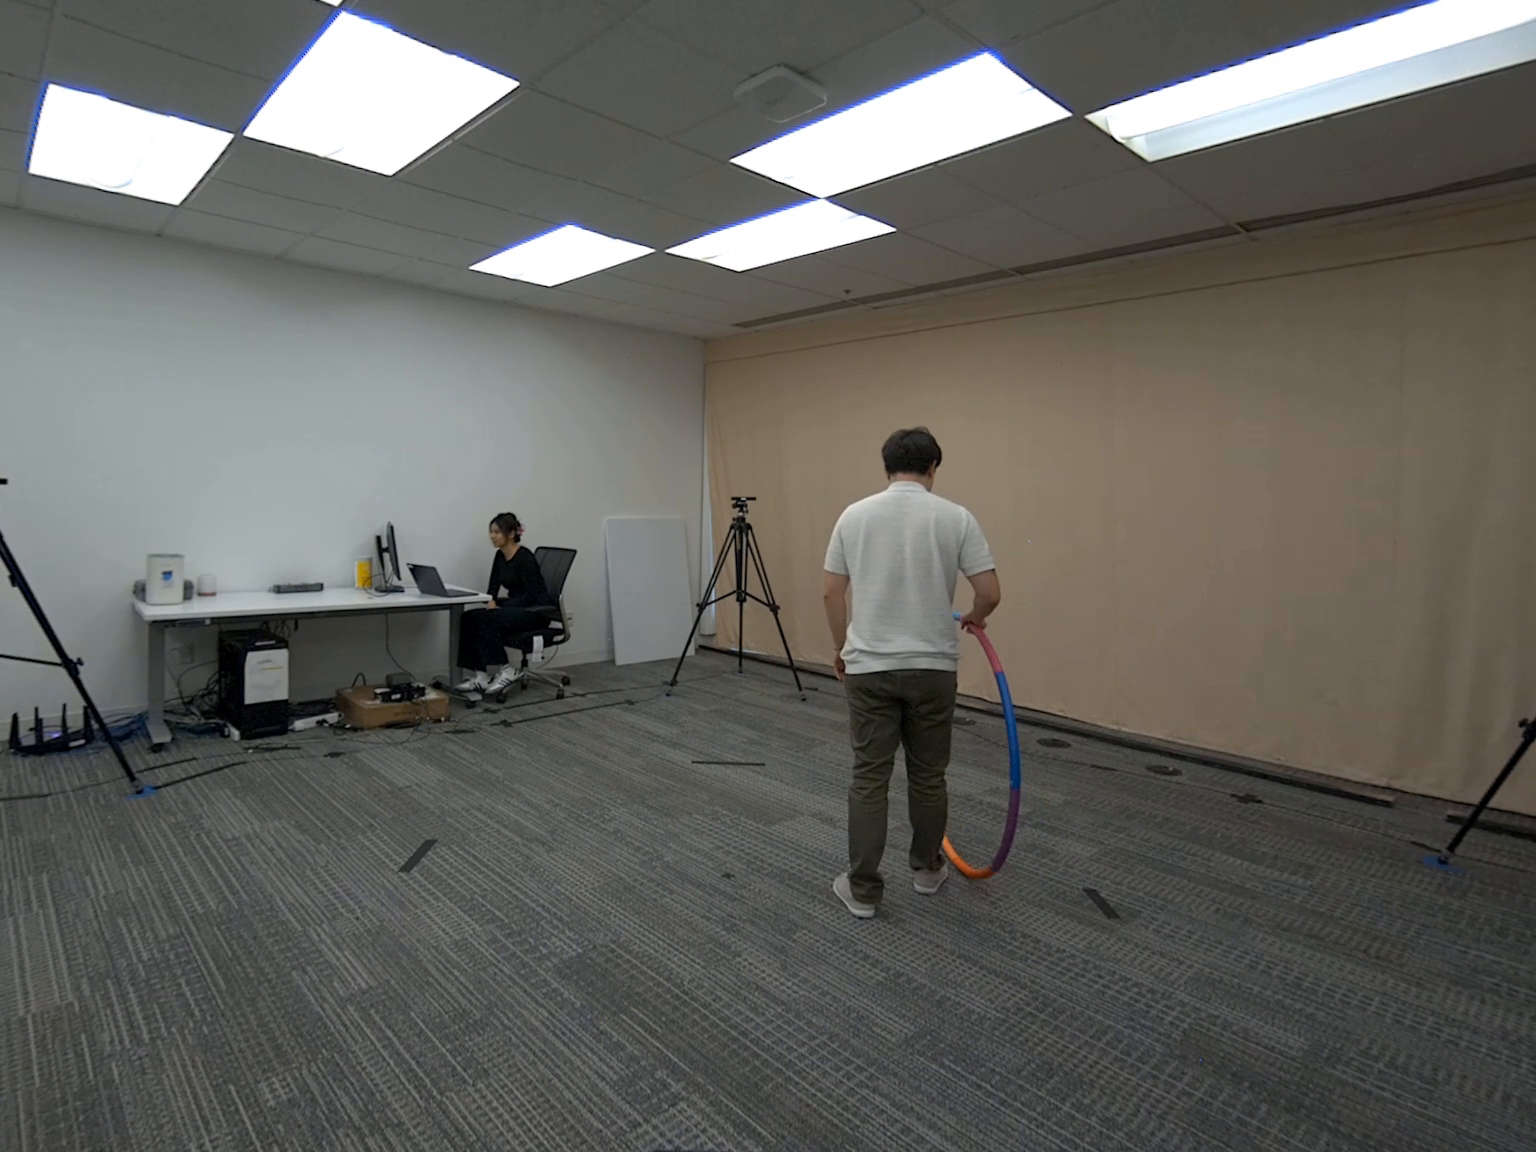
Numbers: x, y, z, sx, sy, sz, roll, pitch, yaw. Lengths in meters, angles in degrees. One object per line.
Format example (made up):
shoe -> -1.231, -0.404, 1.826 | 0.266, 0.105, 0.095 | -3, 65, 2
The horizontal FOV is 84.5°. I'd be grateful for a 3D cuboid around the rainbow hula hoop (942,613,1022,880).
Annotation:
rainbow hula hoop -> 0.710, 0.631, 3.214 | 0.035, 0.976, 0.987 | -2, 5, -8
